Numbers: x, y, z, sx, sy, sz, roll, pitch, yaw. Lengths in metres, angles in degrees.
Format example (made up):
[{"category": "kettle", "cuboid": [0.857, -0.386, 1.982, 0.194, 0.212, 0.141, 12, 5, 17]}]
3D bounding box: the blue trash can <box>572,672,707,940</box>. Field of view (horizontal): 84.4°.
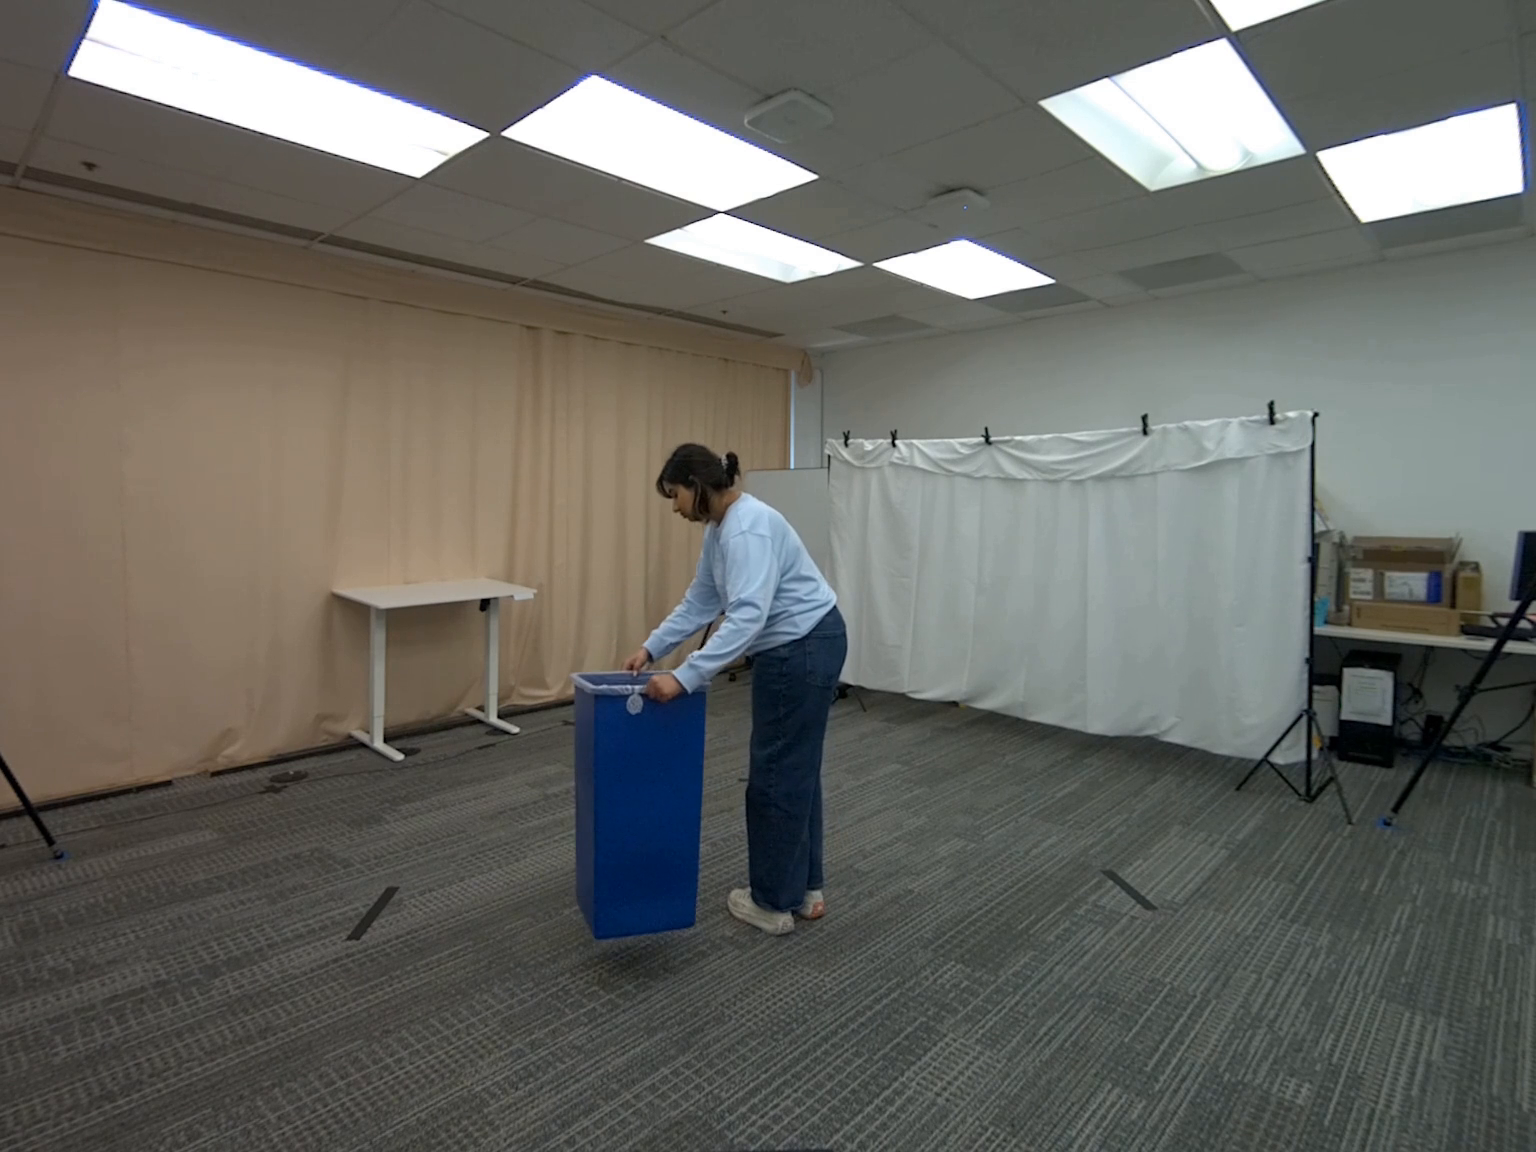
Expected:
[{"category": "blue trash can", "cuboid": [-0.405, 0.674, 2.570, 0.370, 0.714, 0.381, 2, -2, -21]}]
